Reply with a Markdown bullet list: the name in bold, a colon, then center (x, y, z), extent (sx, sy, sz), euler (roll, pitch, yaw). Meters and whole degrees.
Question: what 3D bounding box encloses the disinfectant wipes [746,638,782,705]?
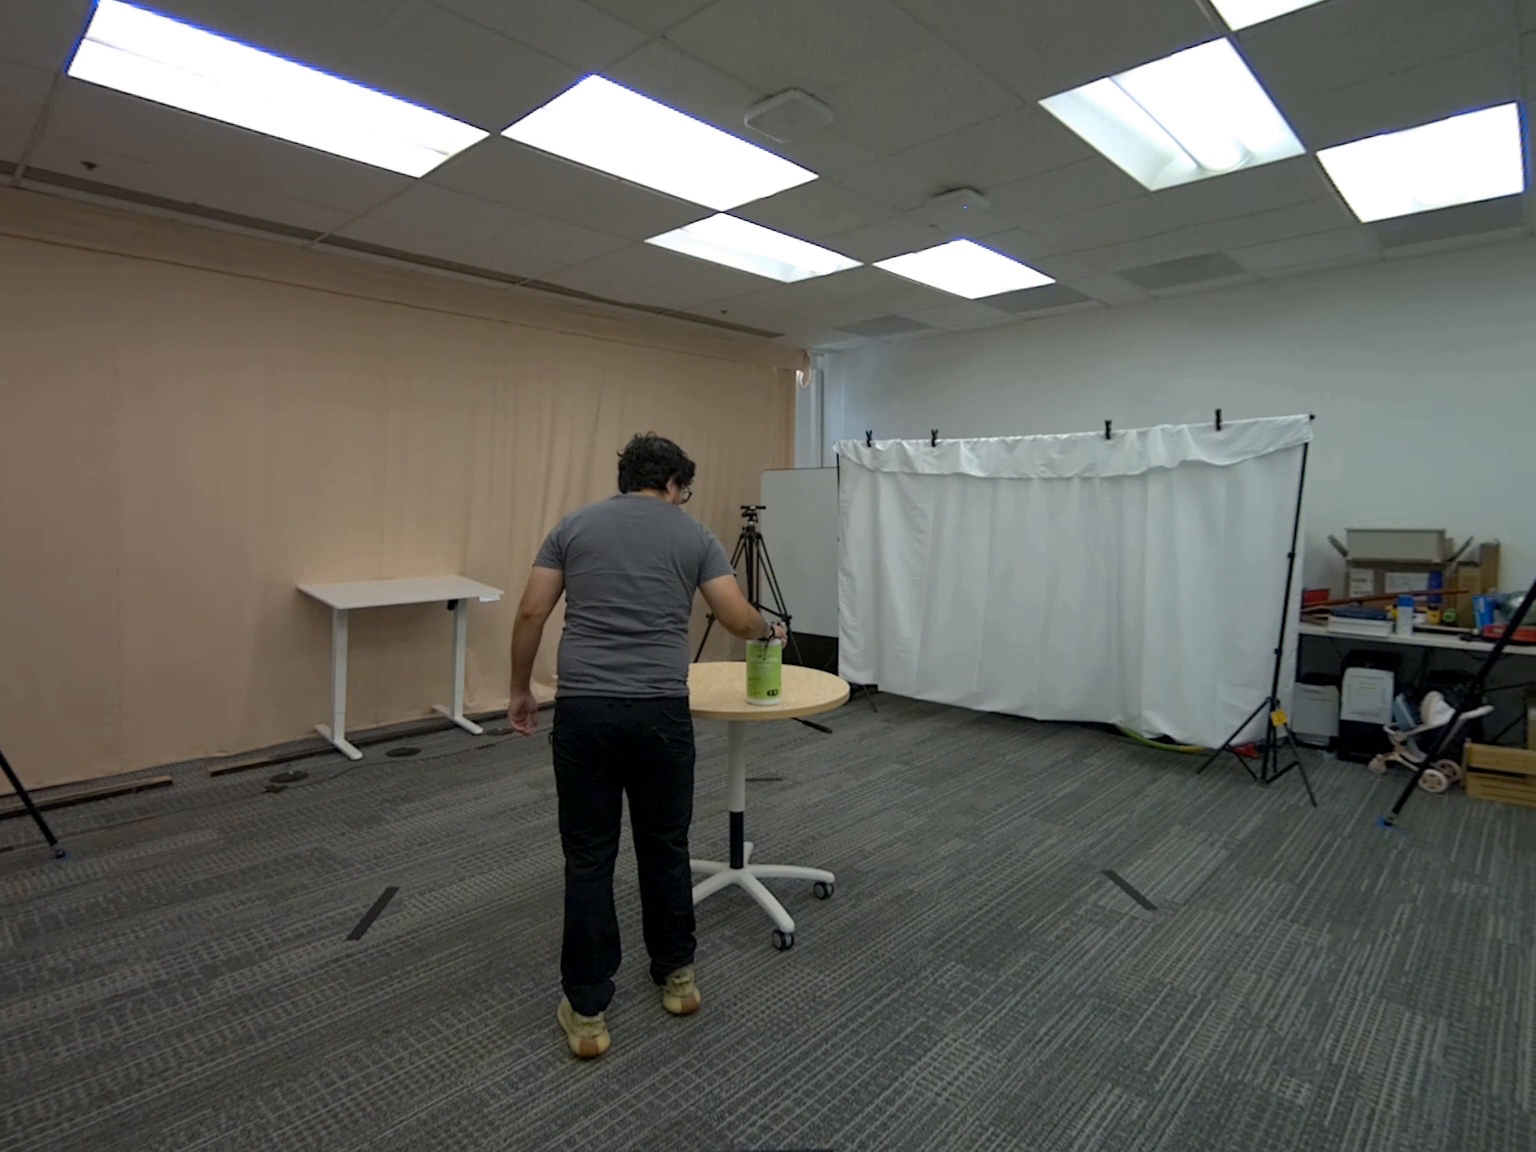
- **disinfectant wipes**: center (-0.010, 0.290, 2.621), extent (0.118, 0.216, 0.118), euler (-1, 7, -2)
